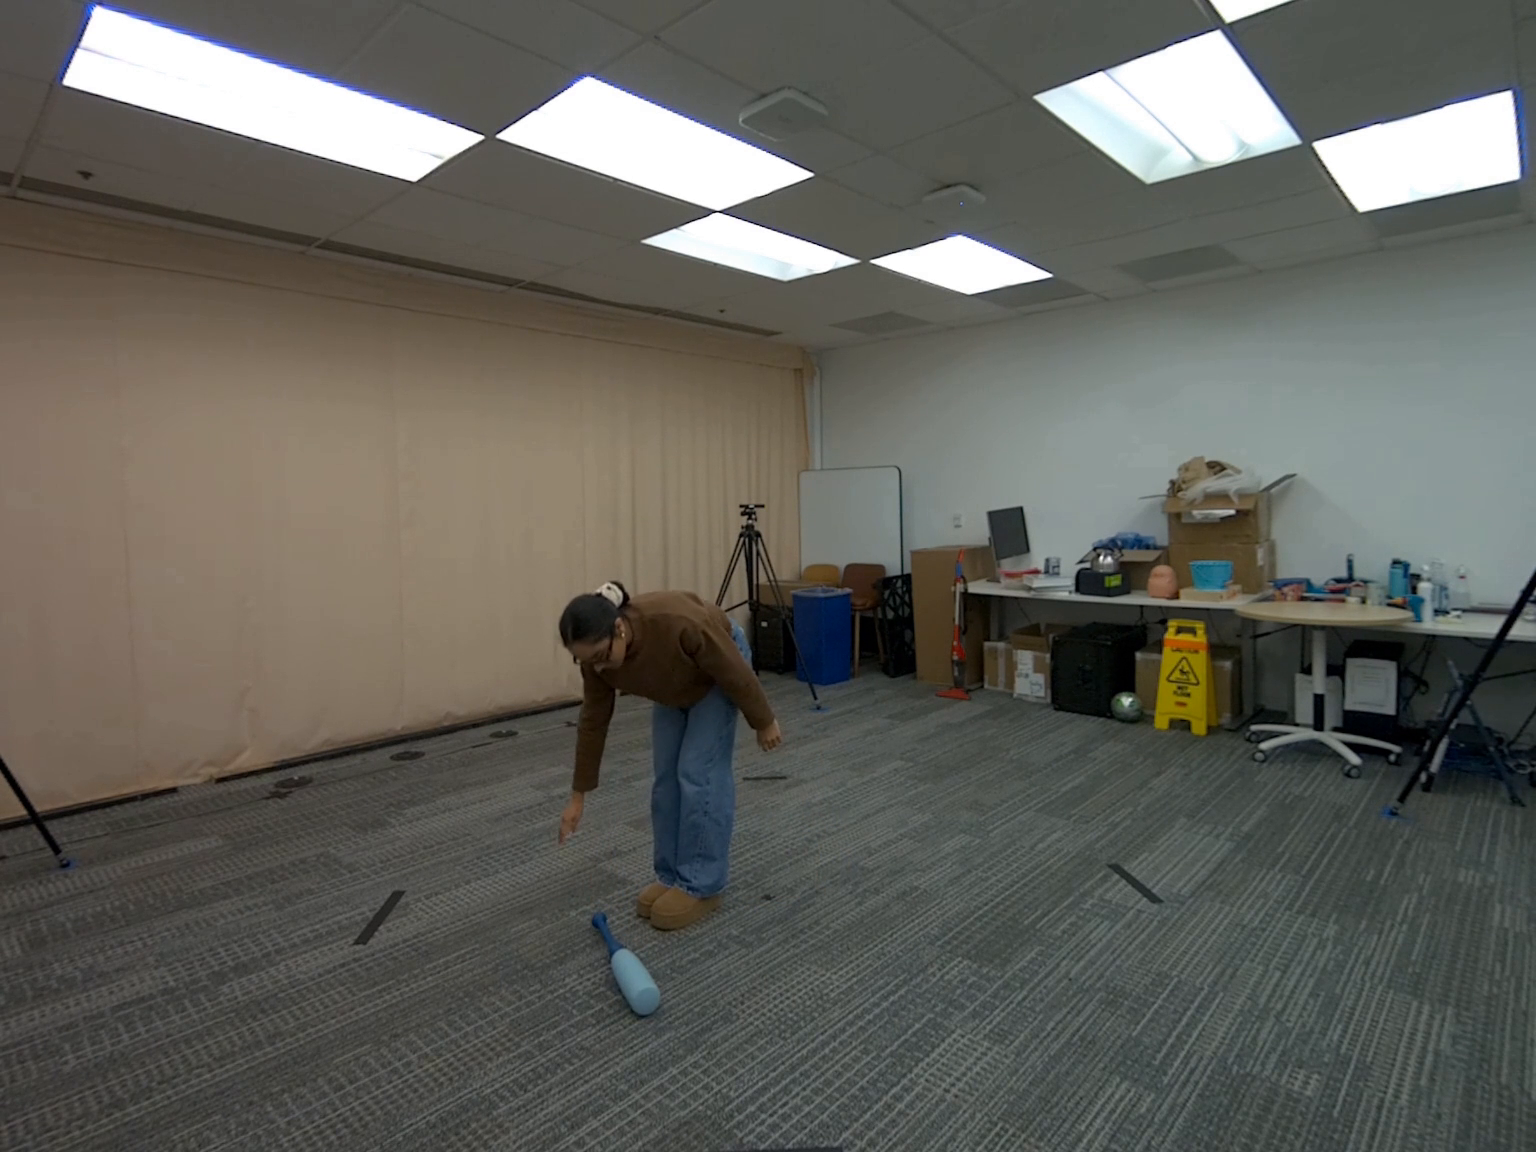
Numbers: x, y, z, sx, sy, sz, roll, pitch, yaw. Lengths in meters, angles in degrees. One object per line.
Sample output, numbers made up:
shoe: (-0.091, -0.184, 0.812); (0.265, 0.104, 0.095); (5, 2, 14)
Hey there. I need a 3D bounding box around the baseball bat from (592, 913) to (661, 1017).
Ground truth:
baseball bat: (-0.440, 1.148, 2.532); (0.087, 0.089, 0.556); (-2, 3, -24)
